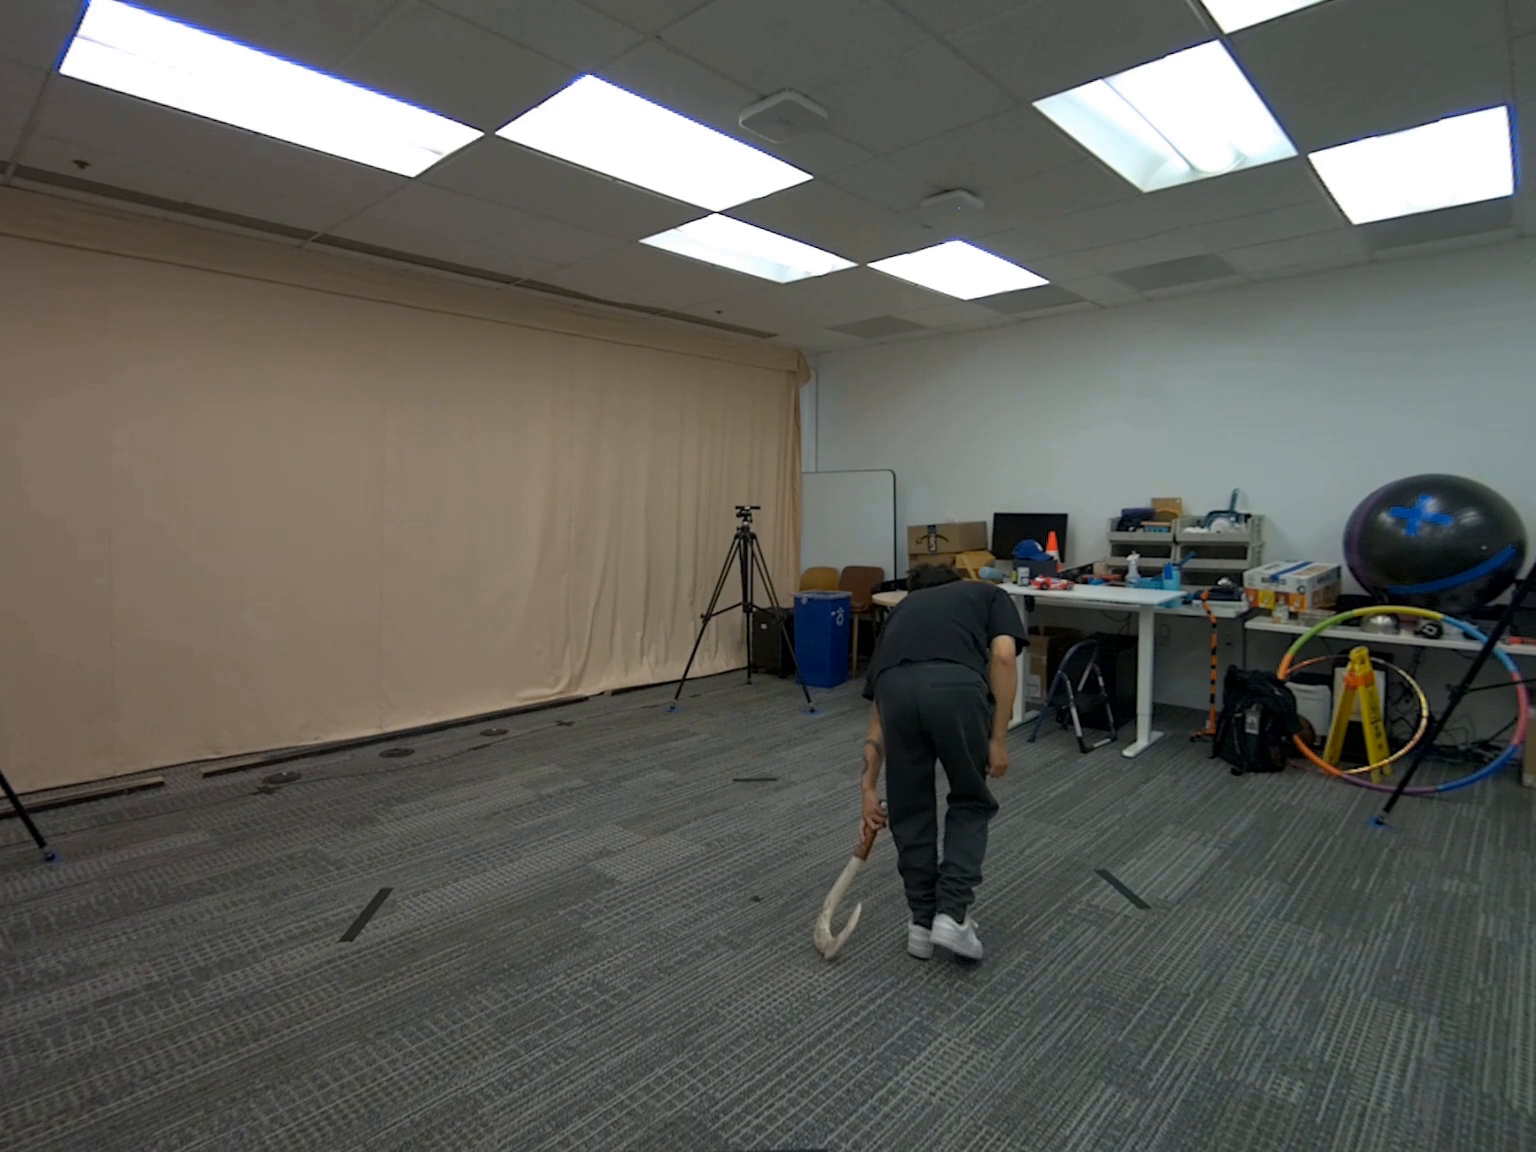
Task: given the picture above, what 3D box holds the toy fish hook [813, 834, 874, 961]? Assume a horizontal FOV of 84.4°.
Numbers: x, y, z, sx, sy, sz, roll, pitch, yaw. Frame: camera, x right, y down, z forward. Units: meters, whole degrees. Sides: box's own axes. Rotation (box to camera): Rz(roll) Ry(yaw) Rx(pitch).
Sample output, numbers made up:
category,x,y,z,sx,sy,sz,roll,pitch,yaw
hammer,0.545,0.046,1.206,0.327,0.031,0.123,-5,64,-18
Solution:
category,x,y,z,sx,sy,sz,roll,pitch,yaw
toy fish hook,0.293,0.964,2.651,0.047,0.507,0.229,32,-12,-18
